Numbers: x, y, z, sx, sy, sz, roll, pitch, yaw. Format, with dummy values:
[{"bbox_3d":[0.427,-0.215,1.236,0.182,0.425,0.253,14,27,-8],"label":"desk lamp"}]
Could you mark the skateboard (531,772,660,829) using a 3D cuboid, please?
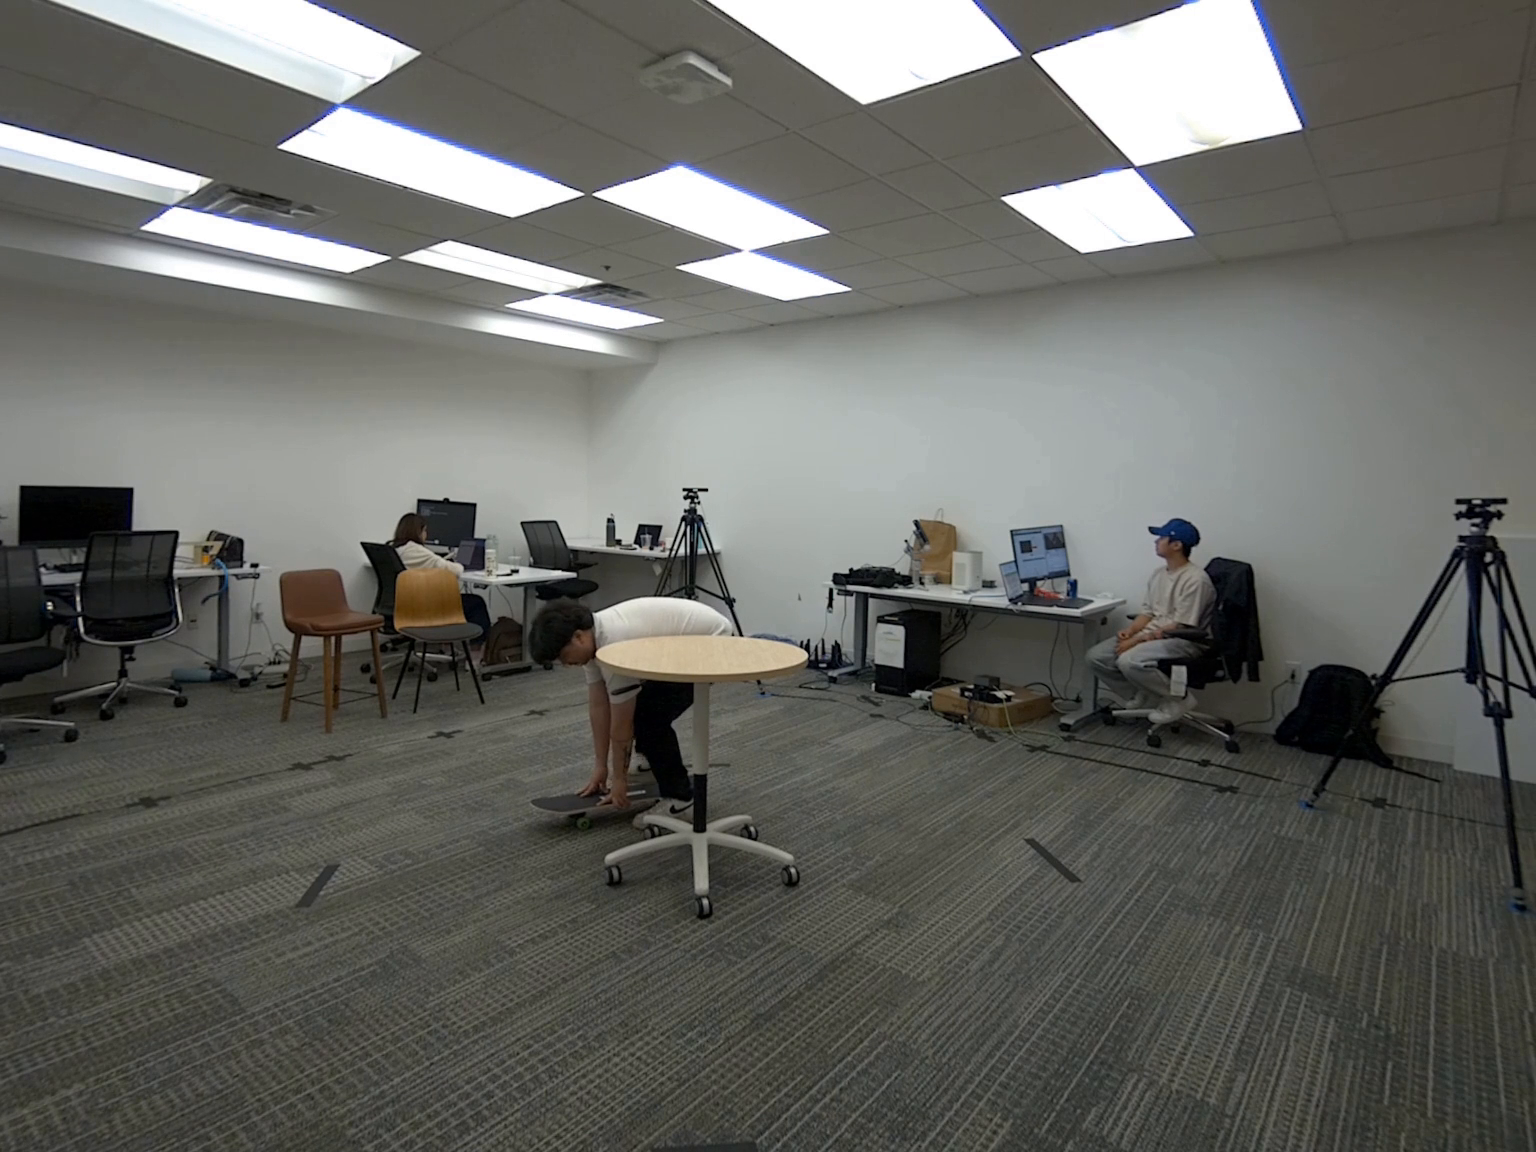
[{"bbox_3d":[-0.633,0.960,3.610,0.767,0.110,0.199,-2,6,-25],"label":"skateboard"}]
